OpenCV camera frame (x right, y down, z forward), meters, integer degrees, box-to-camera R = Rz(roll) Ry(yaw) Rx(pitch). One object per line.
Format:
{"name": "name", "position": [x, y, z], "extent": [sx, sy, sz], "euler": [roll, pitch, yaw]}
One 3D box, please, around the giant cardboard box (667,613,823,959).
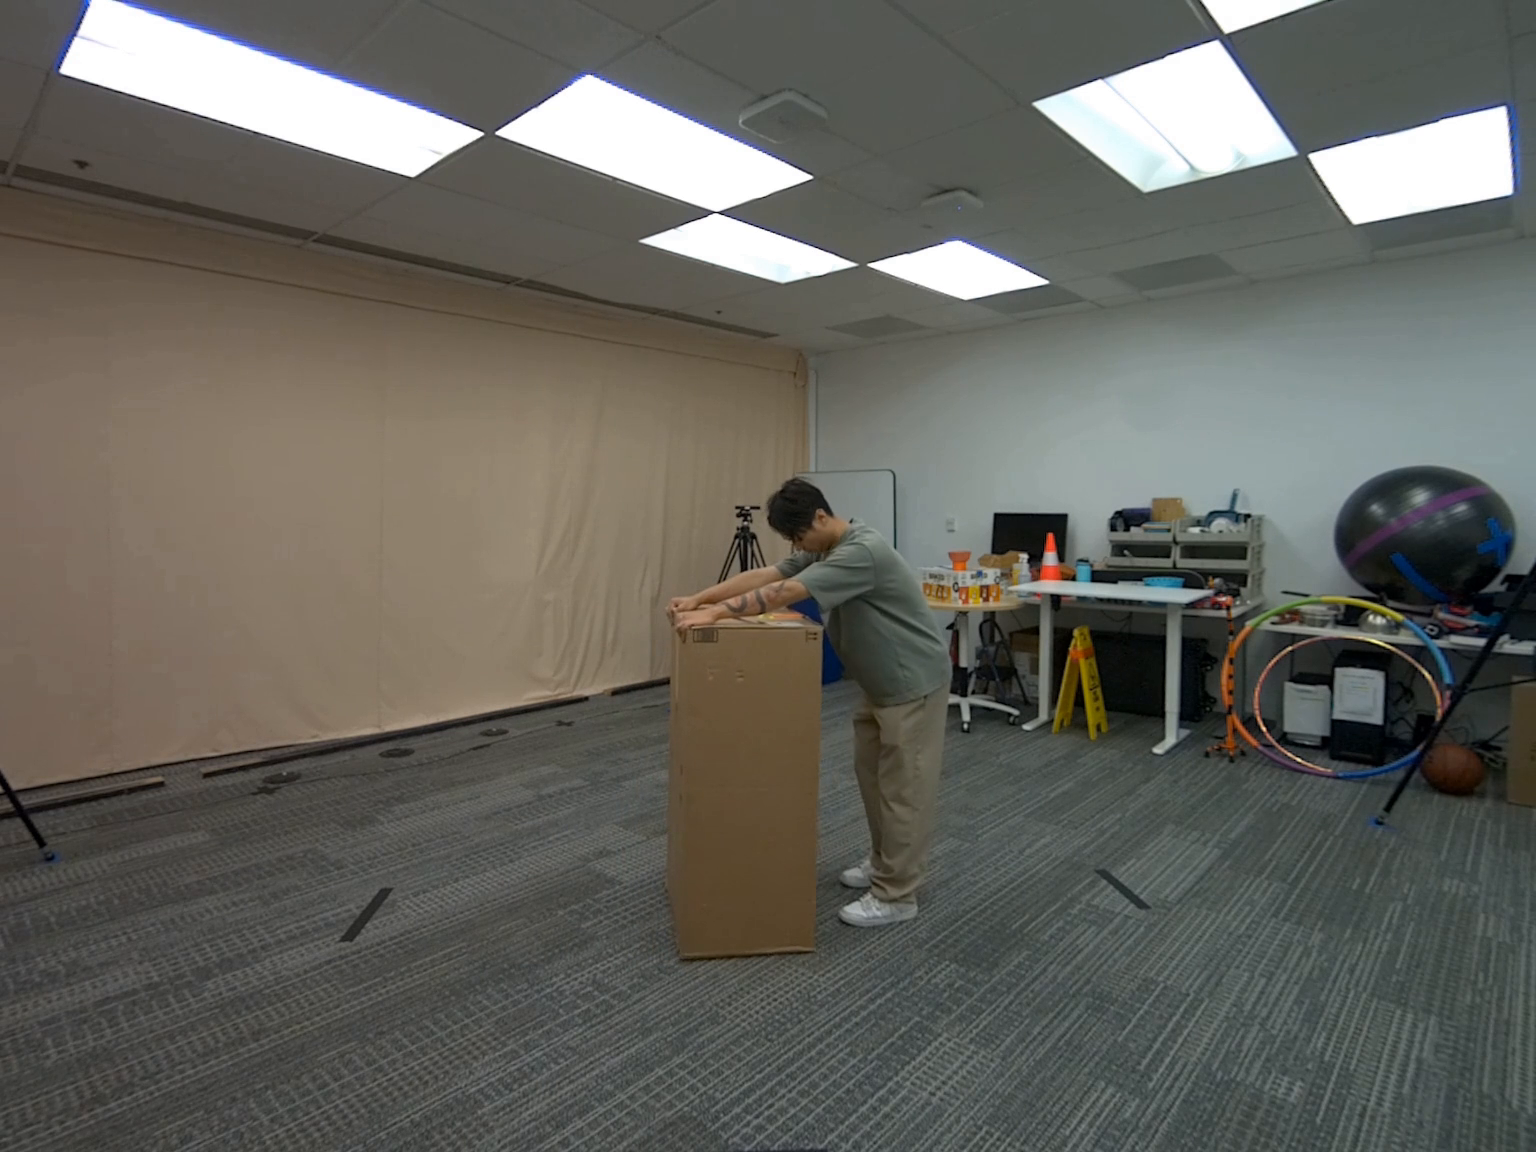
{"name": "giant cardboard box", "position": [-0.096, 0.641, 2.858], "extent": [0.421, 1.024, 0.585], "euler": [1, 3, -11]}
